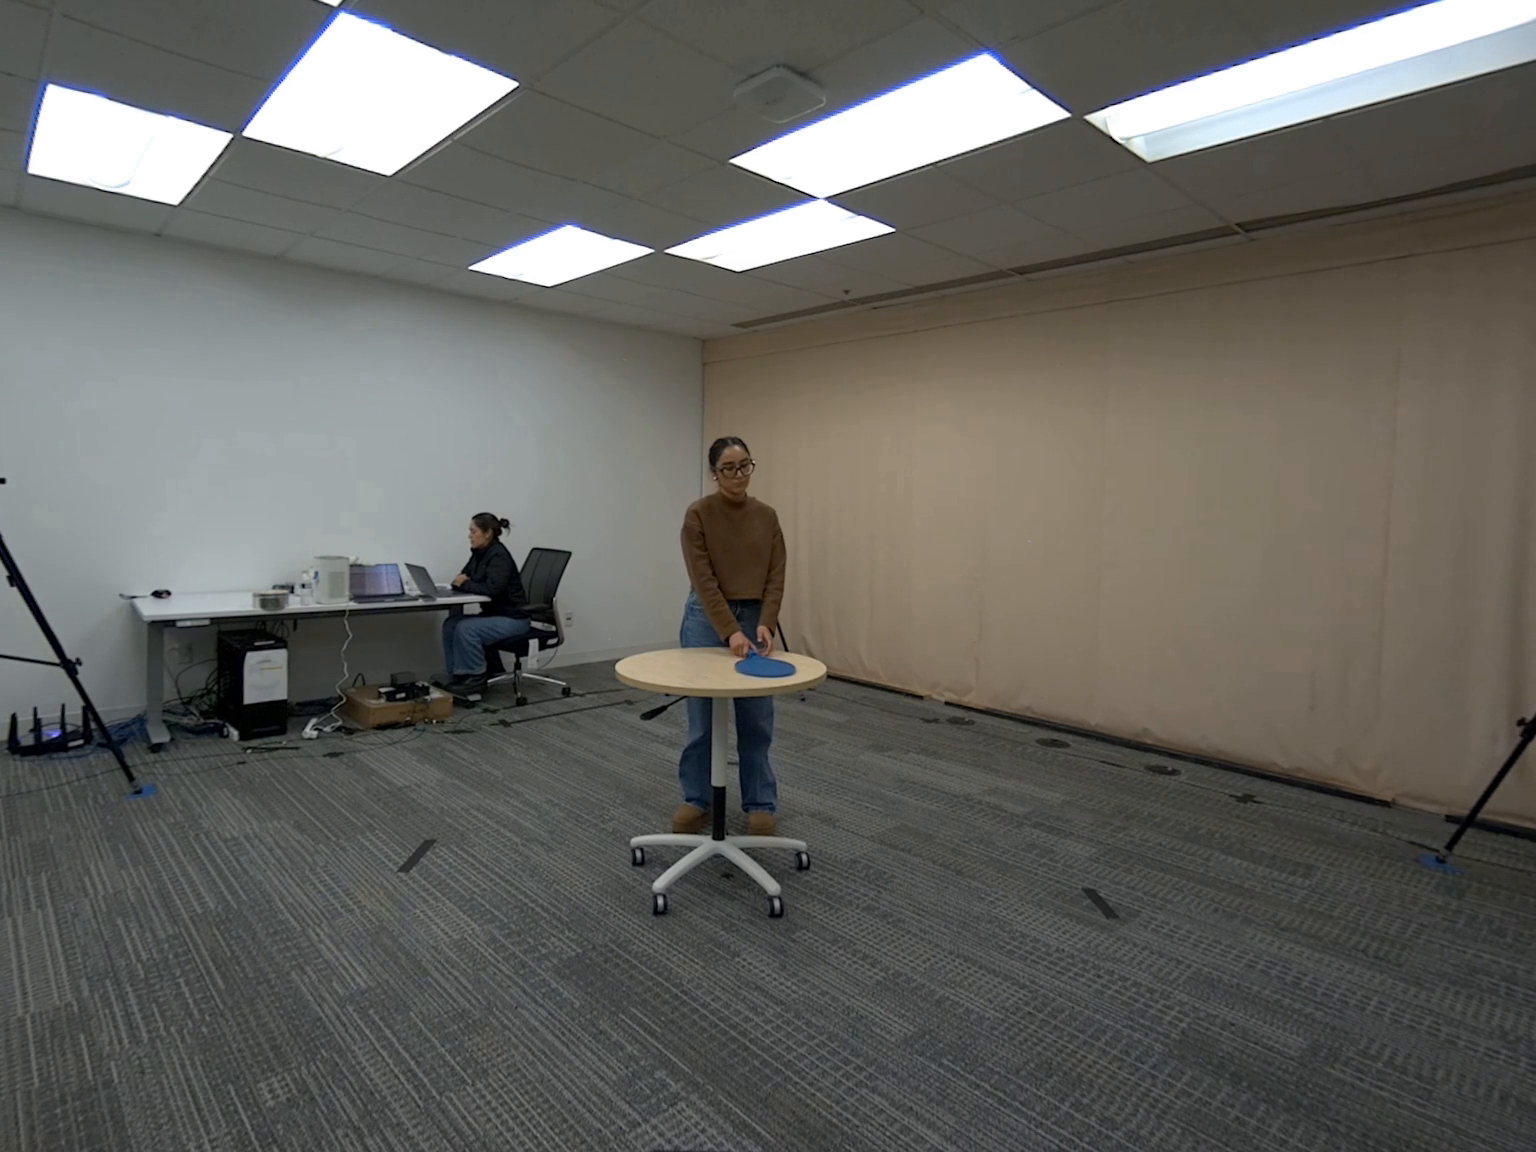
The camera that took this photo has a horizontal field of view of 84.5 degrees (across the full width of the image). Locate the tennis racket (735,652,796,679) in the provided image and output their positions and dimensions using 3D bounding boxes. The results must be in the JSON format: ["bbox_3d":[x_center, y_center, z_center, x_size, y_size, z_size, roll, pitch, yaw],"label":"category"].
[{"bbox_3d":[-0.034,0.322,3.067,0.212,0.031,0.438,-1,8,-11],"label":"tennis racket"}]
